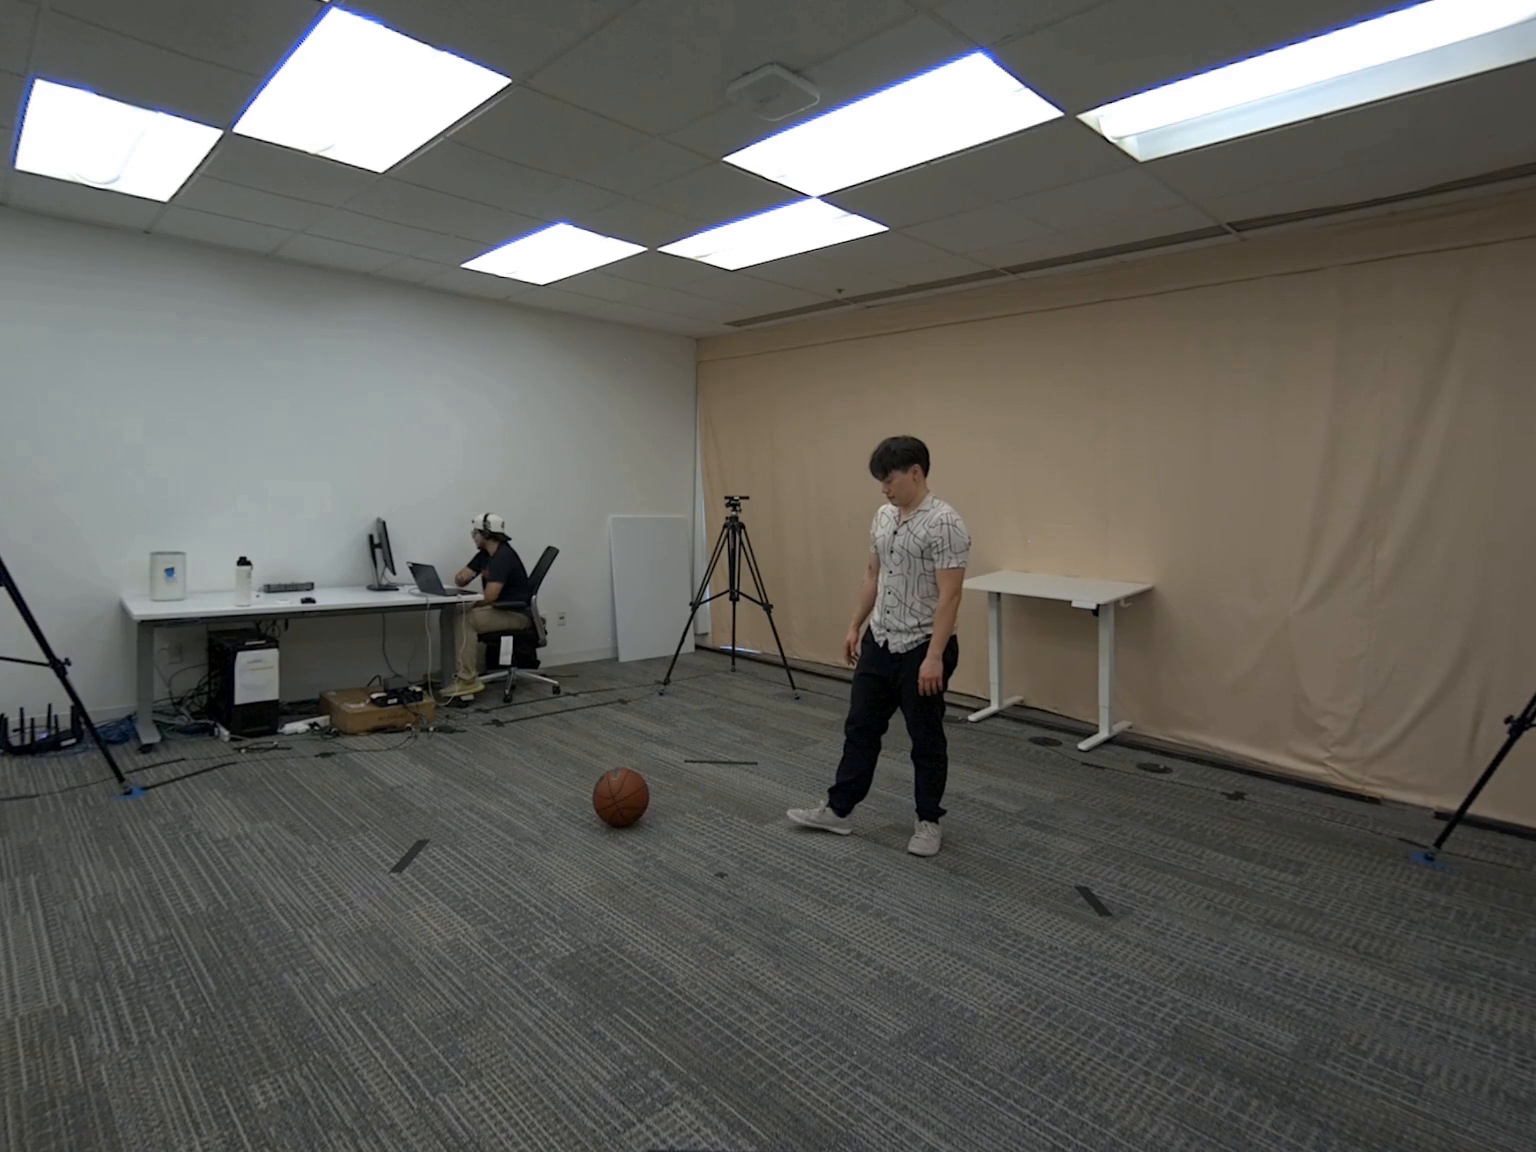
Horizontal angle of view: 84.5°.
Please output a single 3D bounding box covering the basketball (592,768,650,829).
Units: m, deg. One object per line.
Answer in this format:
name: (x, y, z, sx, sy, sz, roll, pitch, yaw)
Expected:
basketball: (-0.634, 0.933, 3.552, 0.236, 0.235, 0.237, 1, 4, -1)
